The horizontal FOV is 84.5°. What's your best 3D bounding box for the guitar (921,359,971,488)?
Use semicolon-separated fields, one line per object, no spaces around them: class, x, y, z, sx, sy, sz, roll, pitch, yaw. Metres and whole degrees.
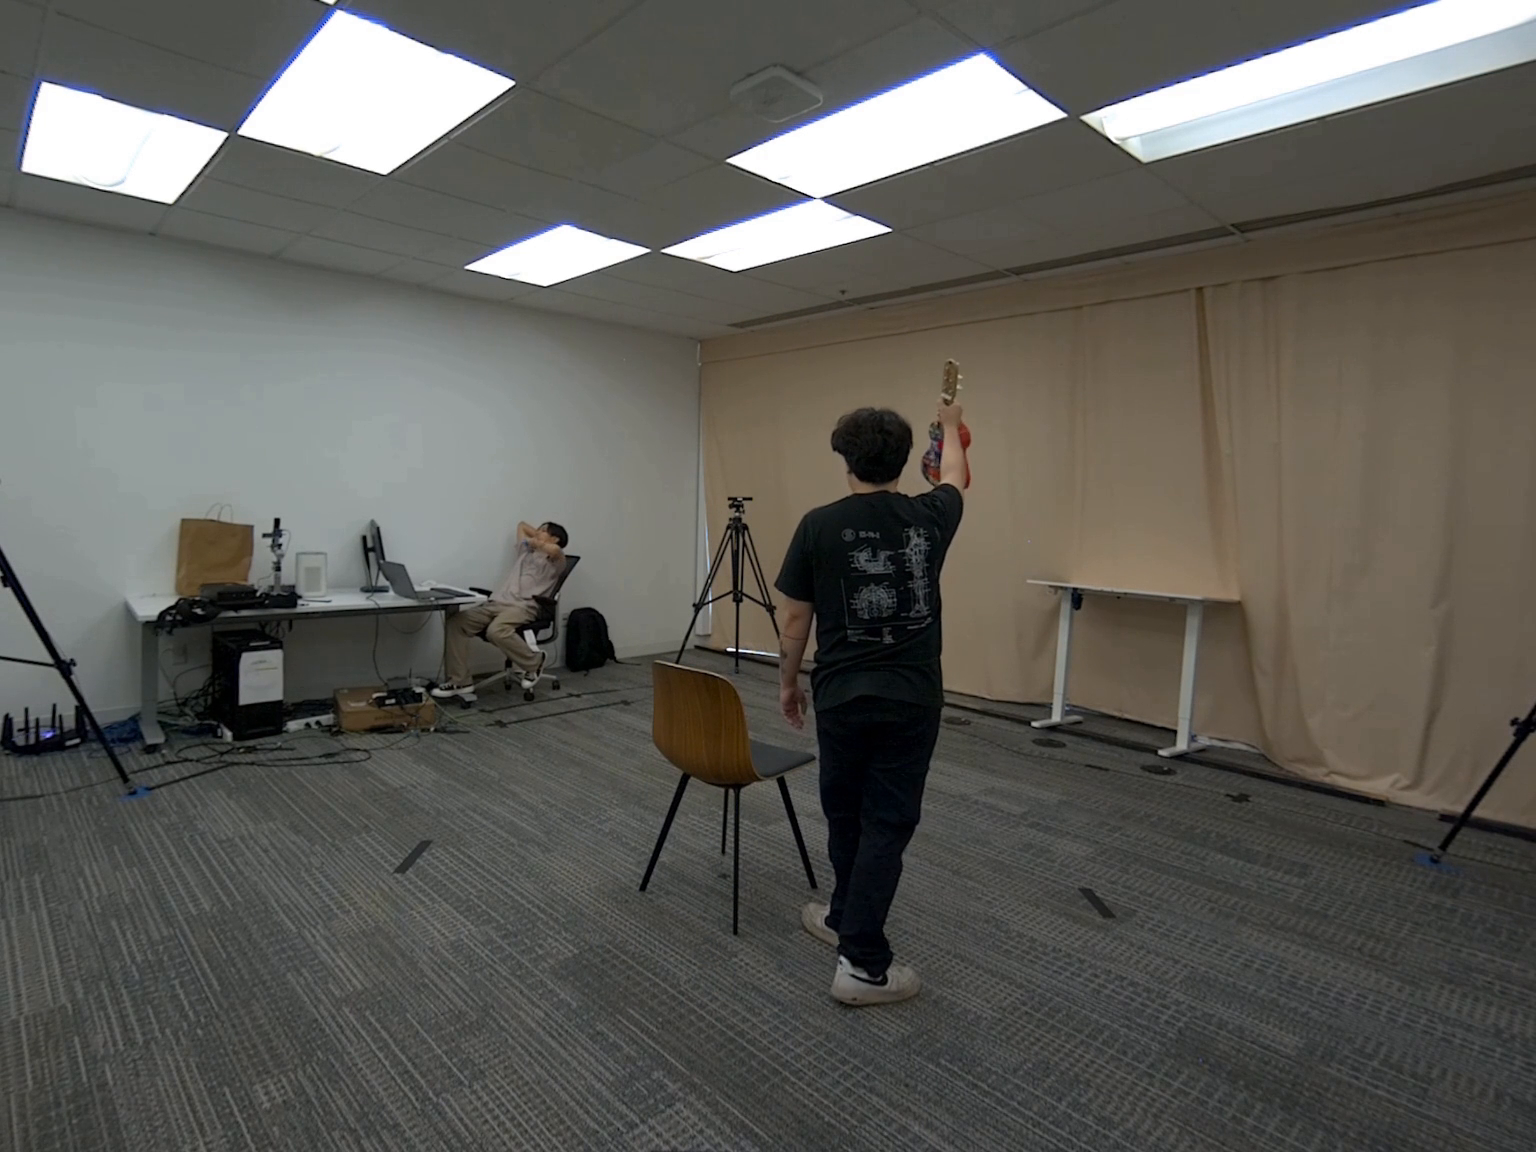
guitar;0.630;-0.502;2.897;0.070;0.487;0.199;-21;50;-23
